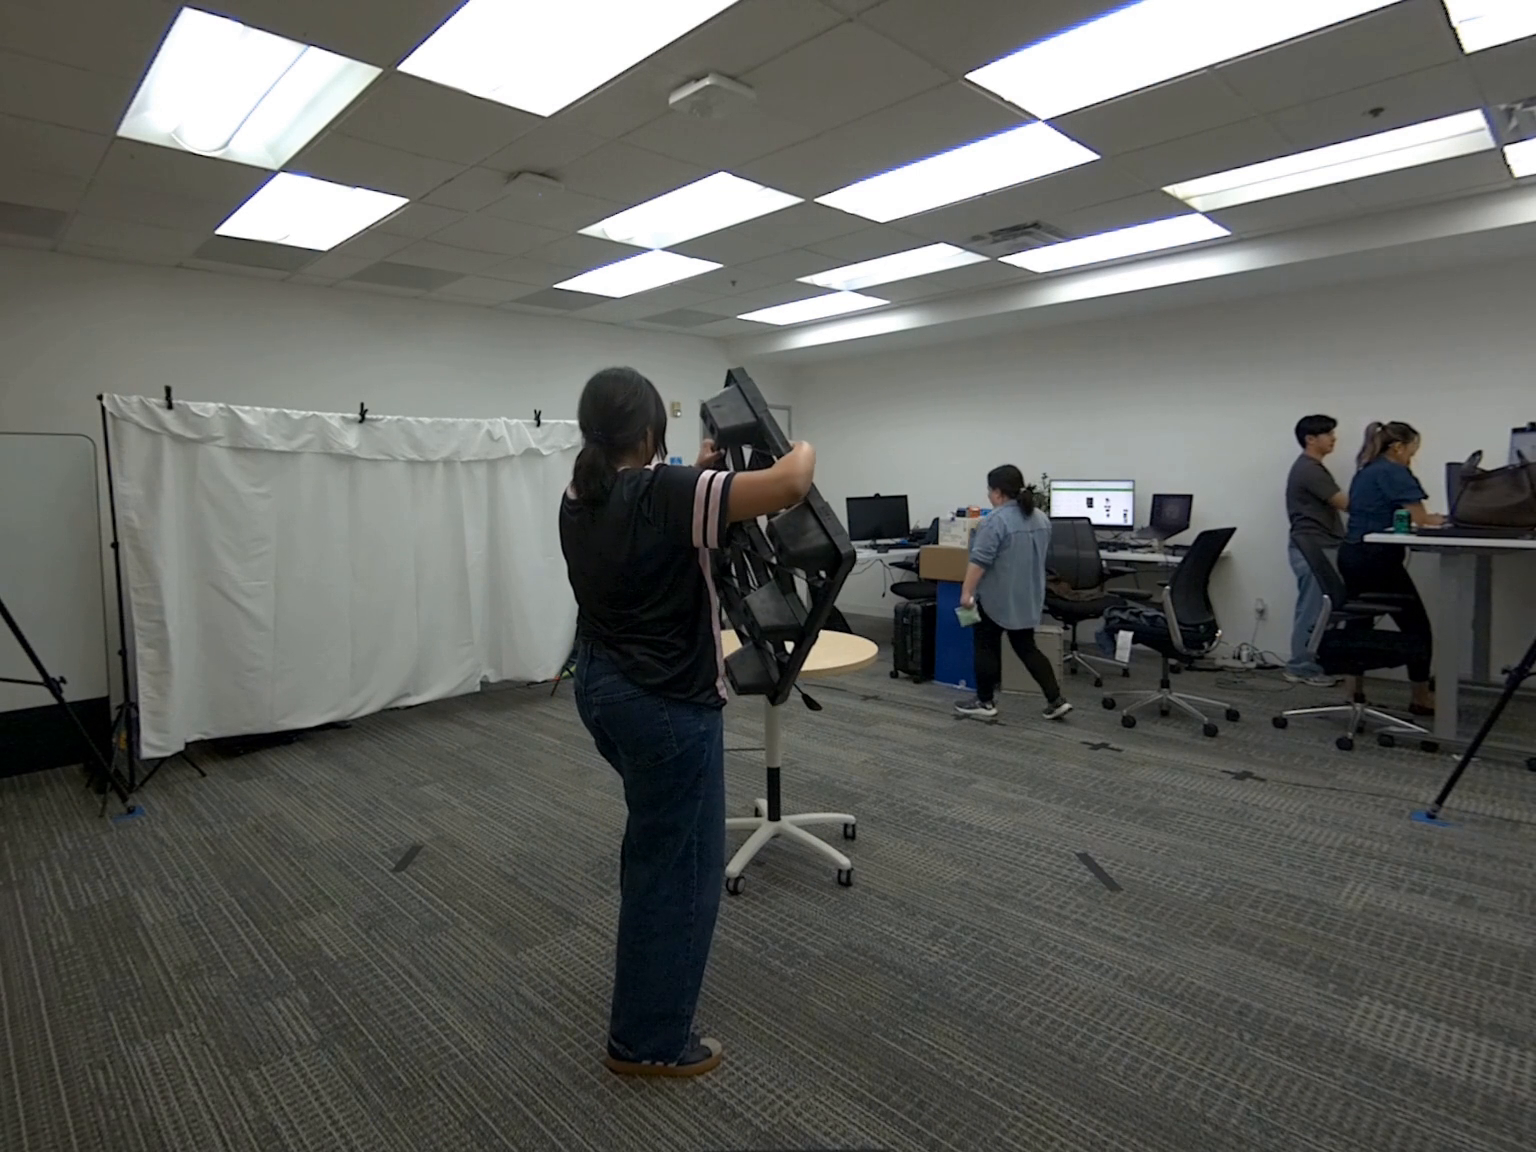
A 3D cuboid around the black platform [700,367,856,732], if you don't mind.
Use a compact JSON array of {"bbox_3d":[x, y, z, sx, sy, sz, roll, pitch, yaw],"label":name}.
[{"bbox_3d":[-0.065,-0.061,2.266,0.141,0.624,0.791,-16,-29,-22],"label":"black platform"}]
